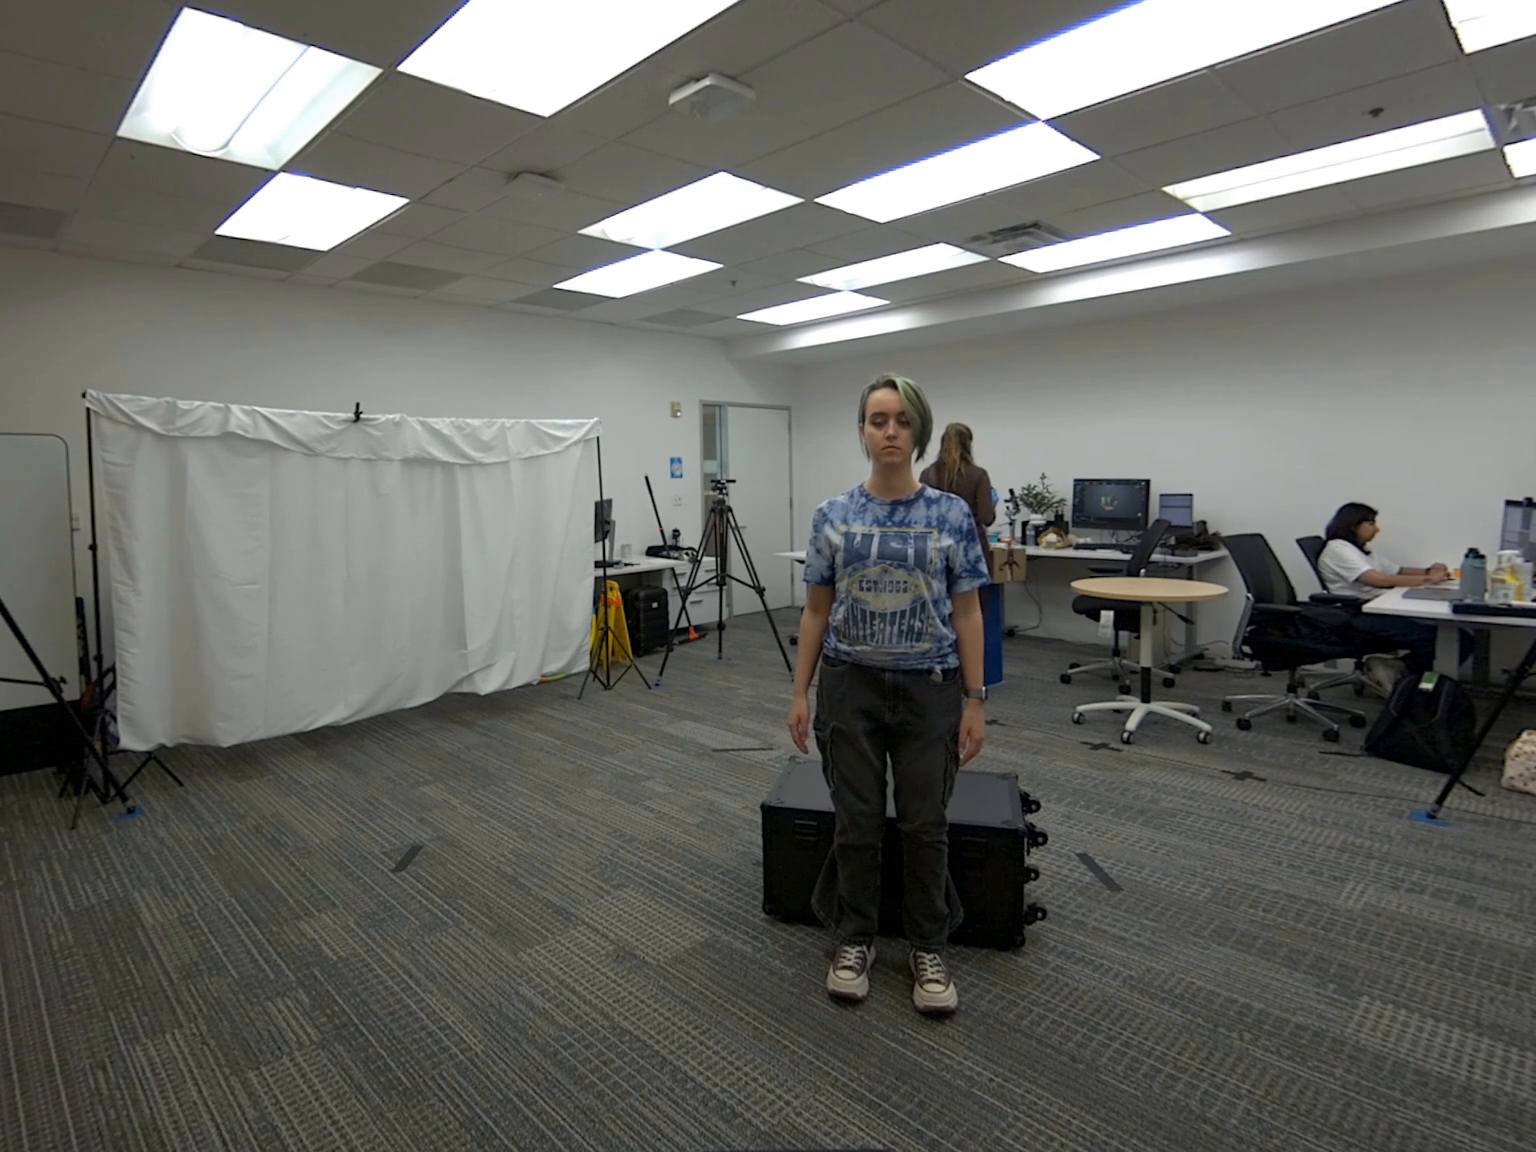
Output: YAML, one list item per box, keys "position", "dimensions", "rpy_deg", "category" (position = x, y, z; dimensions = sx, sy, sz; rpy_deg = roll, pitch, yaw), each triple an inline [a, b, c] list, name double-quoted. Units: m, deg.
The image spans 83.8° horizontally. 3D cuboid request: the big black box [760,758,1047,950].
- position: [0.444, 0.878, 2.797]
  dimensions: [0.874, 0.395, 0.515]
  rpy_deg: [0, 5, 15]
  category: "big black box"
